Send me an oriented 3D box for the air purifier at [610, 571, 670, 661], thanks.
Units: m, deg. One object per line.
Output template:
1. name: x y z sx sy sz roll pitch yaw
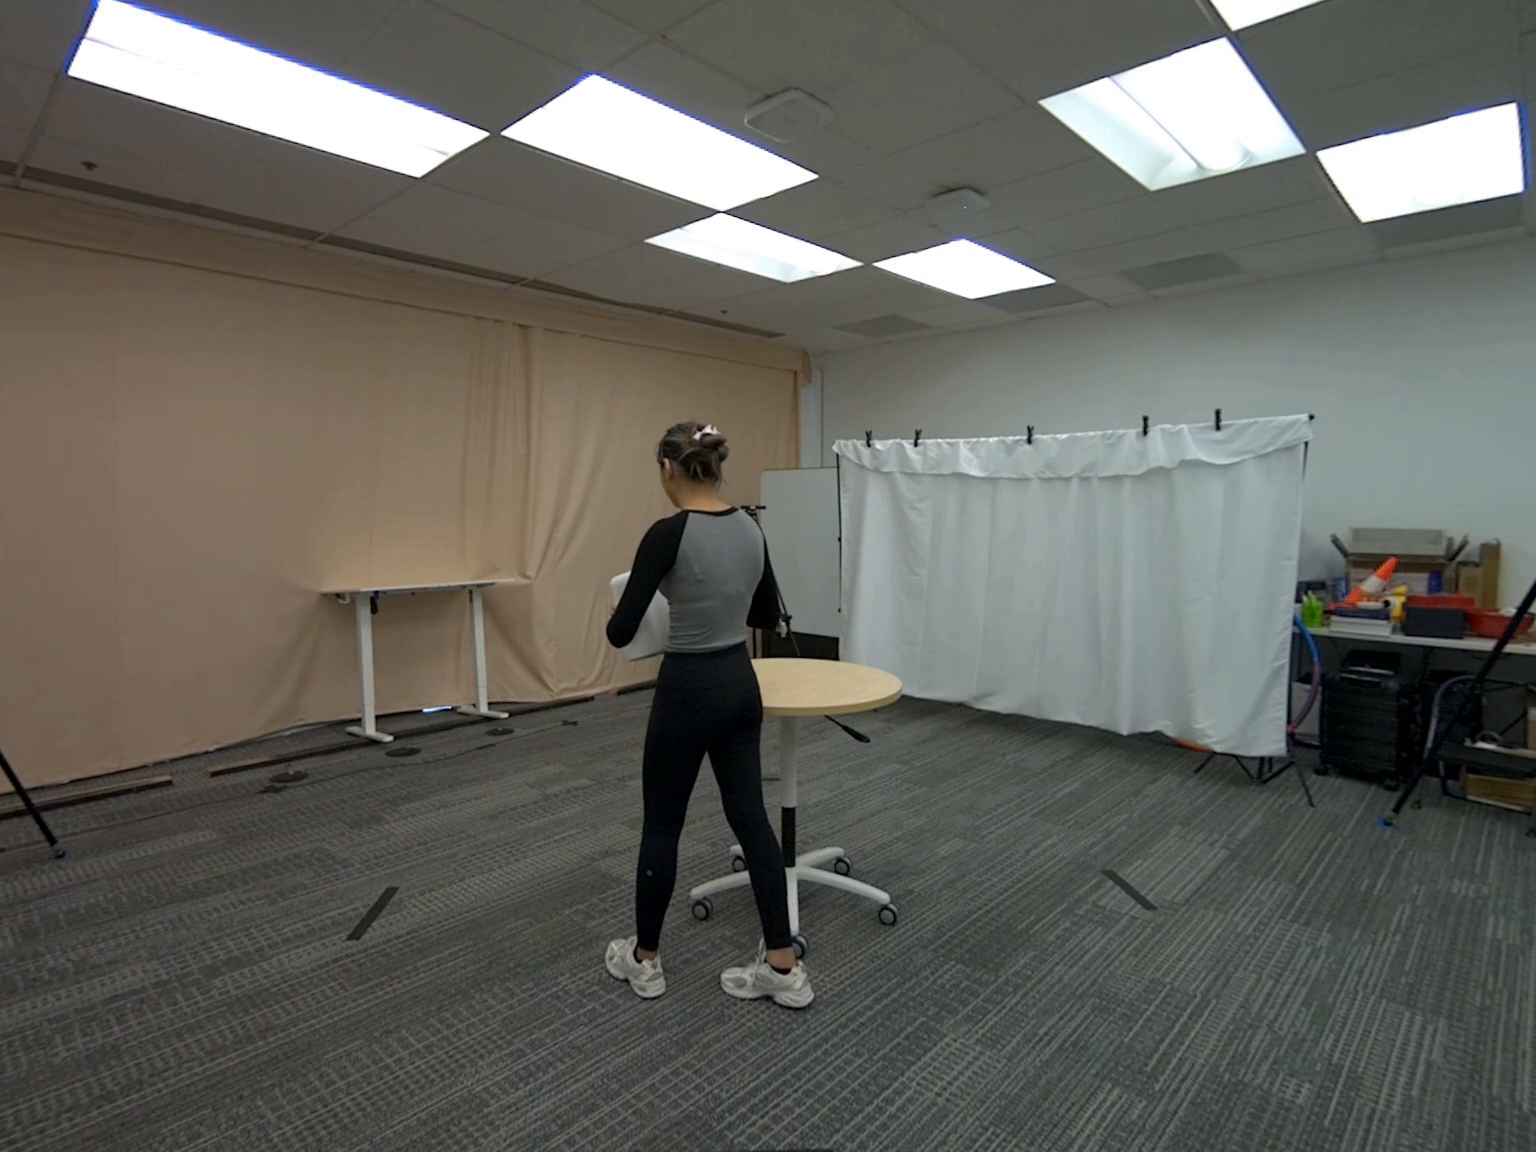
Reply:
1. air purifier: -0.371 0.111 2.596 0.175 0.267 0.167 -19 -8 25
